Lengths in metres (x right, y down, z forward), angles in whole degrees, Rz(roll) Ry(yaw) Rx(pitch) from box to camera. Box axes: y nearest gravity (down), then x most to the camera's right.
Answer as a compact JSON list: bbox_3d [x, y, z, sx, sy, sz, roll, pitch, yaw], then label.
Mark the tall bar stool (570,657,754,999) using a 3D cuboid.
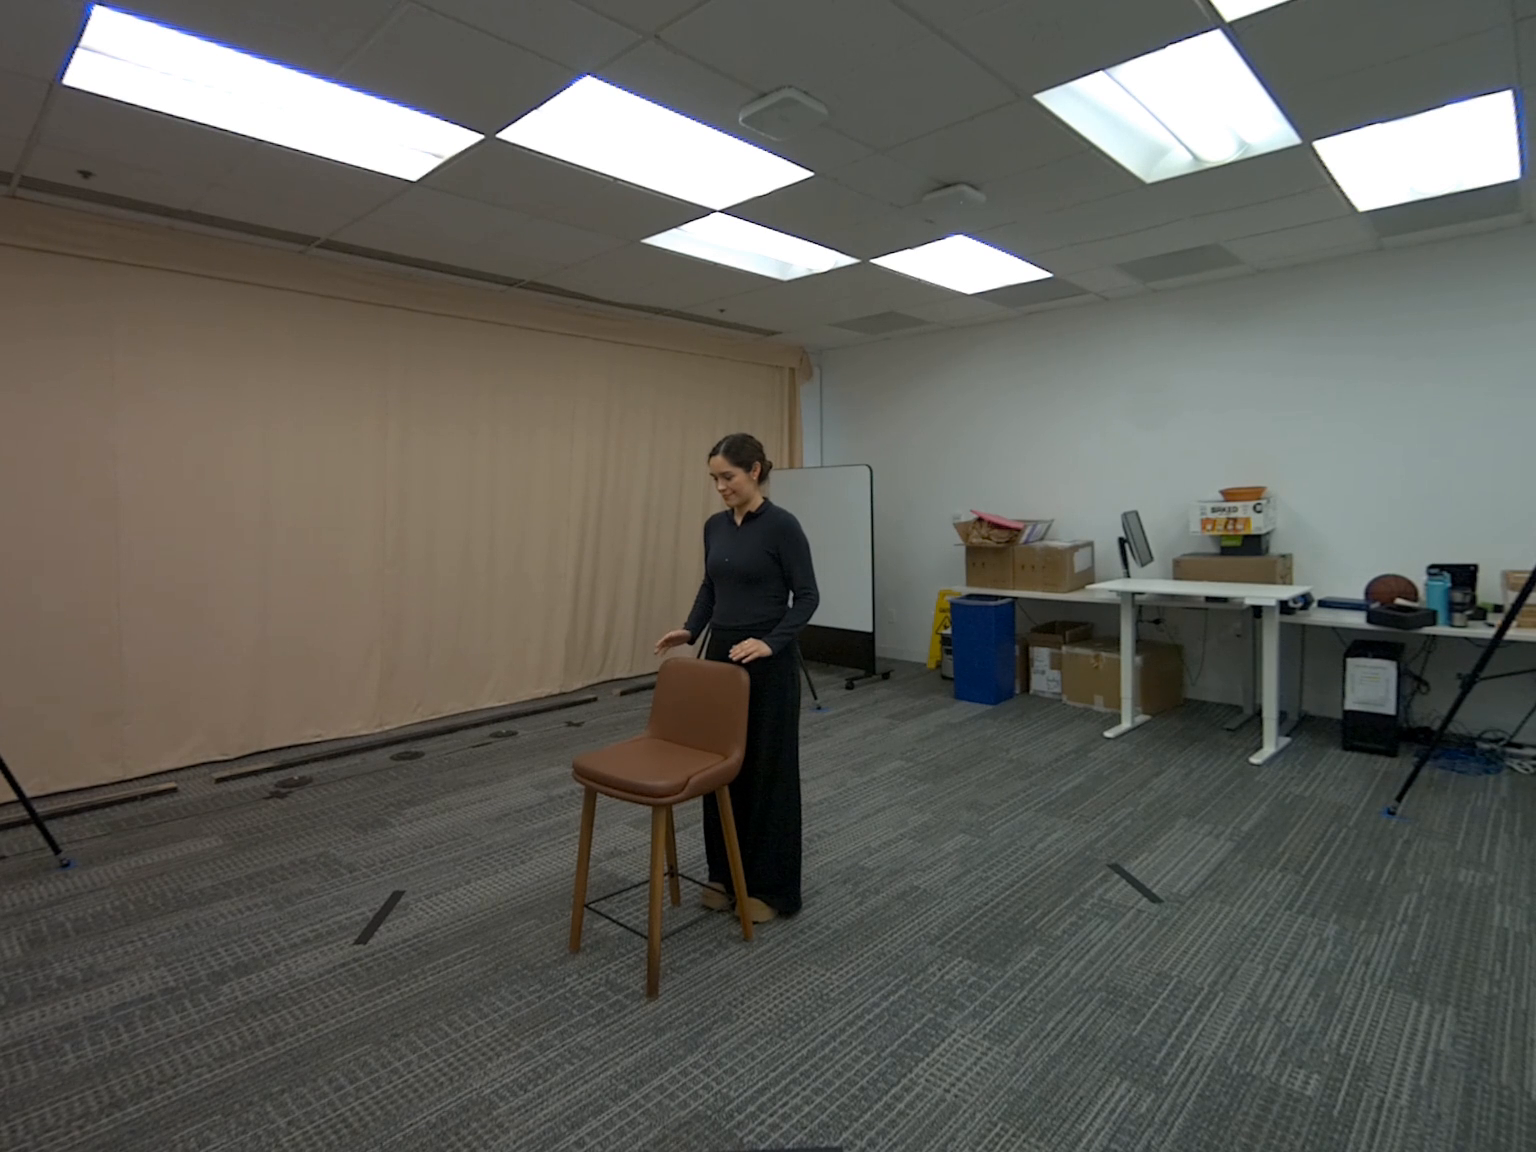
[{"bbox_3d":[-0.328,0.735,2.654,0.471,0.889,0.453,2,2,44],"label":"tall bar stool"}]
